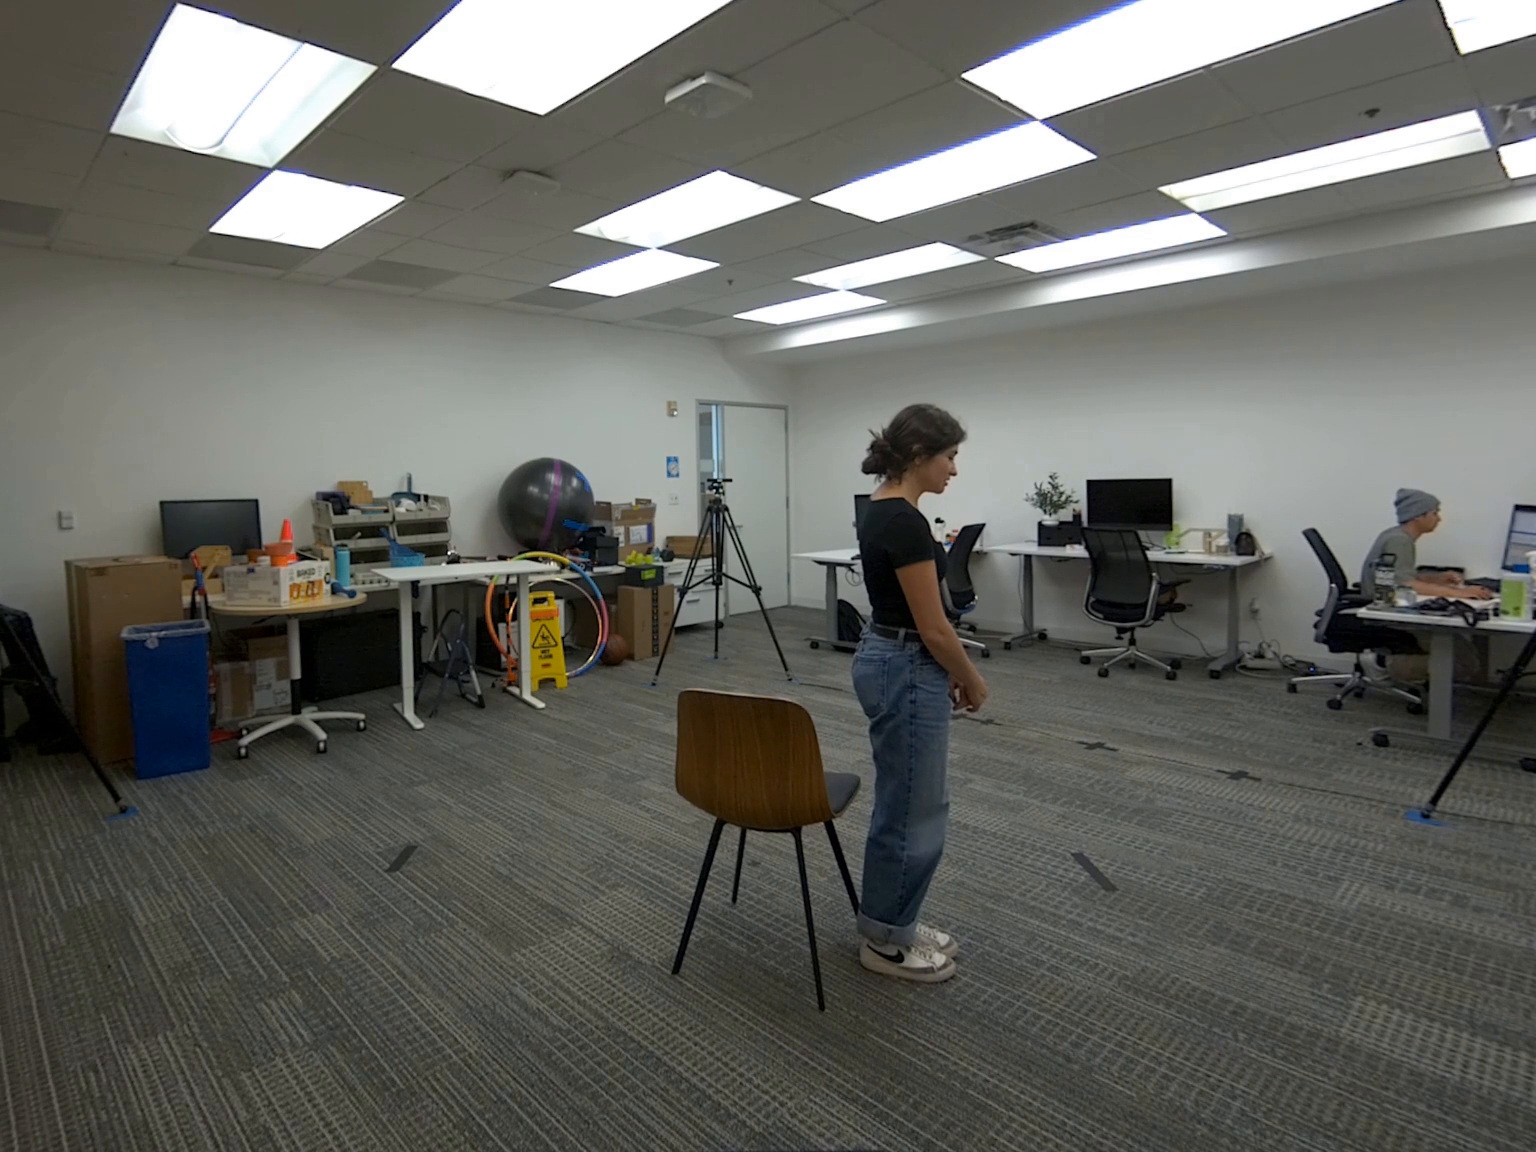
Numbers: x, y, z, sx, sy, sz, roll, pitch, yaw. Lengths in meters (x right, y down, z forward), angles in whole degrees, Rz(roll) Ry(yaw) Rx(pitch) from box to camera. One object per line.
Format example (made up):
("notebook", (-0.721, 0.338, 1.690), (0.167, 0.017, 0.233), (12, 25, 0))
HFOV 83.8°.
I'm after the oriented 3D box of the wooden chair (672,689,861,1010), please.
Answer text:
("wooden chair", (0.011, 0.687, 2.508), (0.488, 0.871, 0.516), (1, 9, 22))
